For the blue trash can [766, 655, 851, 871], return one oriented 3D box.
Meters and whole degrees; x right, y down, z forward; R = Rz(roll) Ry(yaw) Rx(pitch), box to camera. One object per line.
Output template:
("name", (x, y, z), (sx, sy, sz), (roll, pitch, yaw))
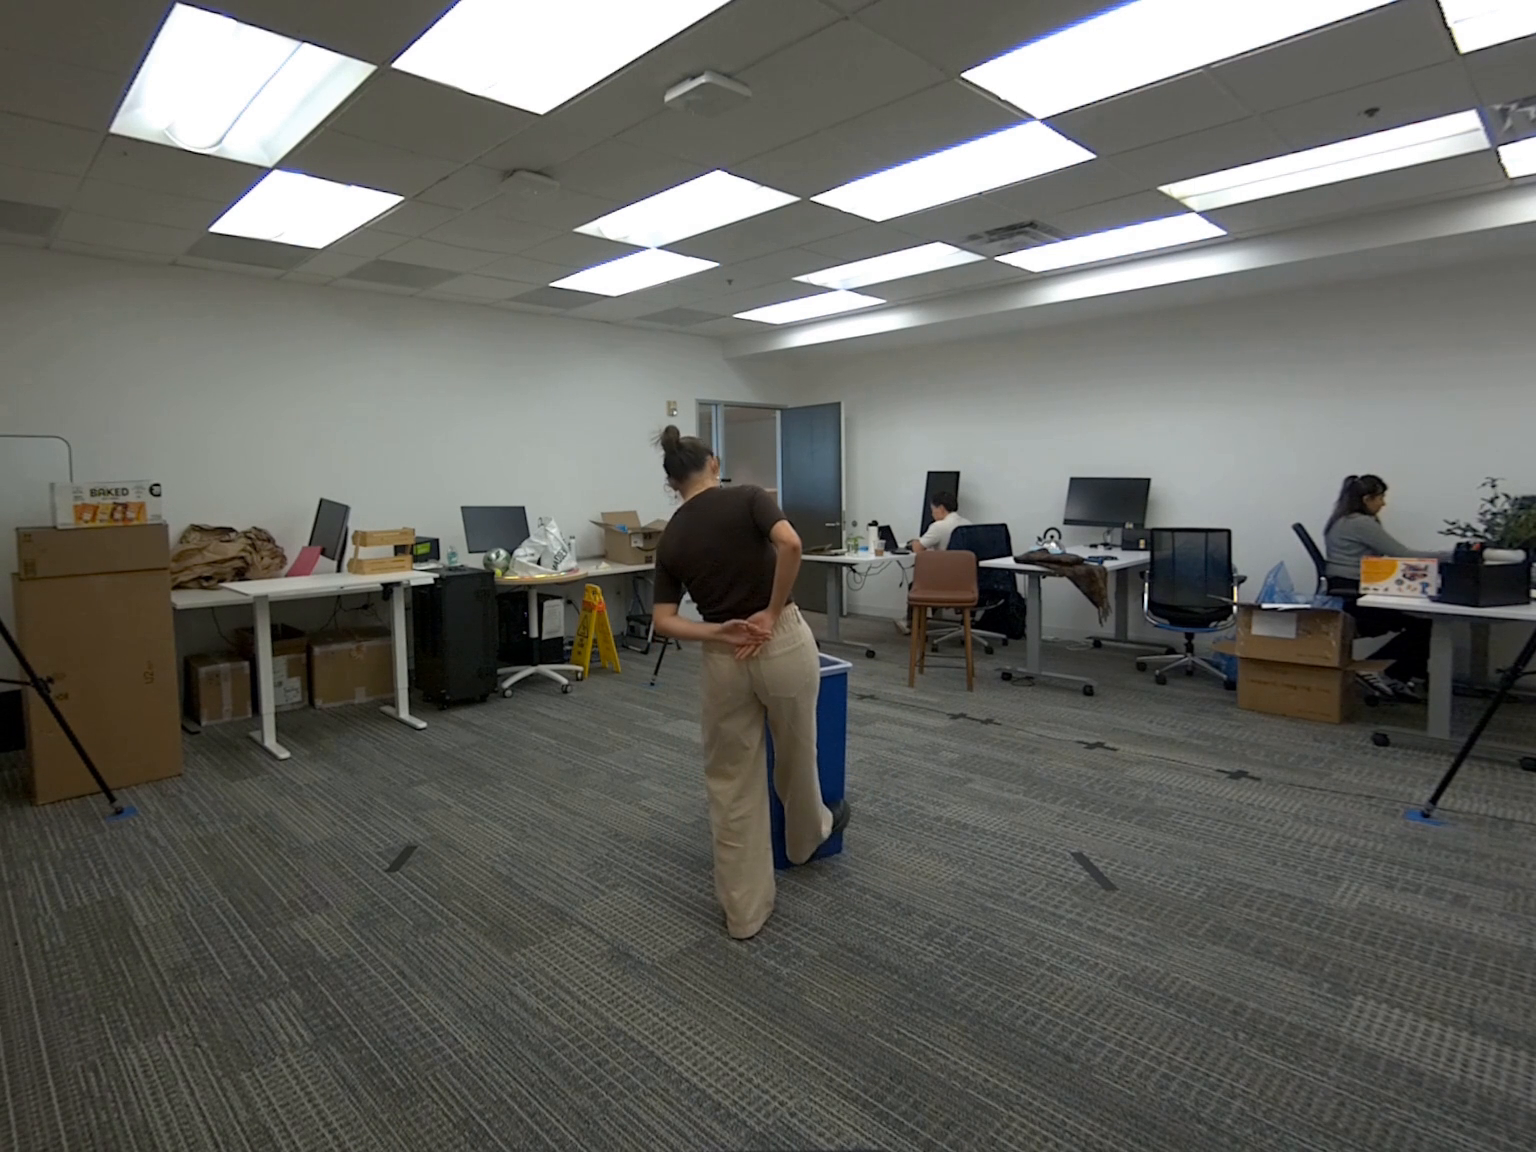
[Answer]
("blue trash can", (0.077, 0.671, 3.210), (0.365, 0.711, 0.389), (-3, 5, -33))
